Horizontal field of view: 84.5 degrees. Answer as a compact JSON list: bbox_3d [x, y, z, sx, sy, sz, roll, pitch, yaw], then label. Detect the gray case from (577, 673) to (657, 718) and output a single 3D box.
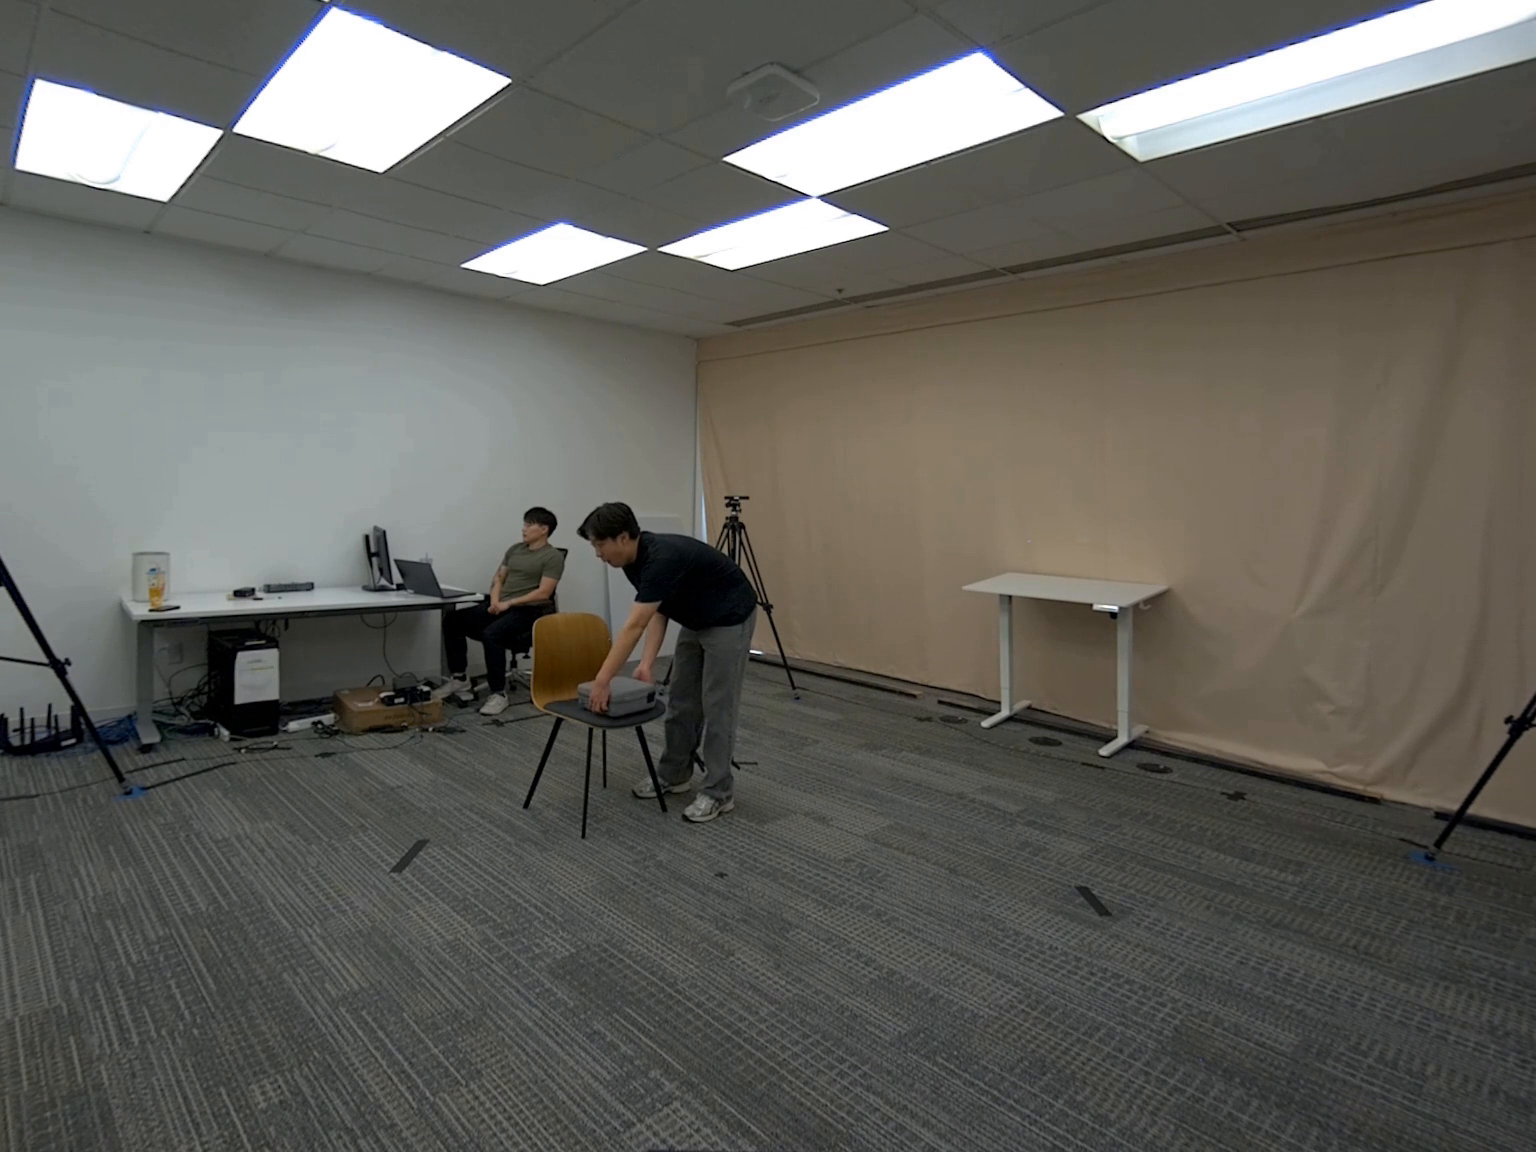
[{"bbox_3d":[-0.663,0.505,3.587,0.294,0.103,0.257,5,7,38],"label":"gray case"}]
